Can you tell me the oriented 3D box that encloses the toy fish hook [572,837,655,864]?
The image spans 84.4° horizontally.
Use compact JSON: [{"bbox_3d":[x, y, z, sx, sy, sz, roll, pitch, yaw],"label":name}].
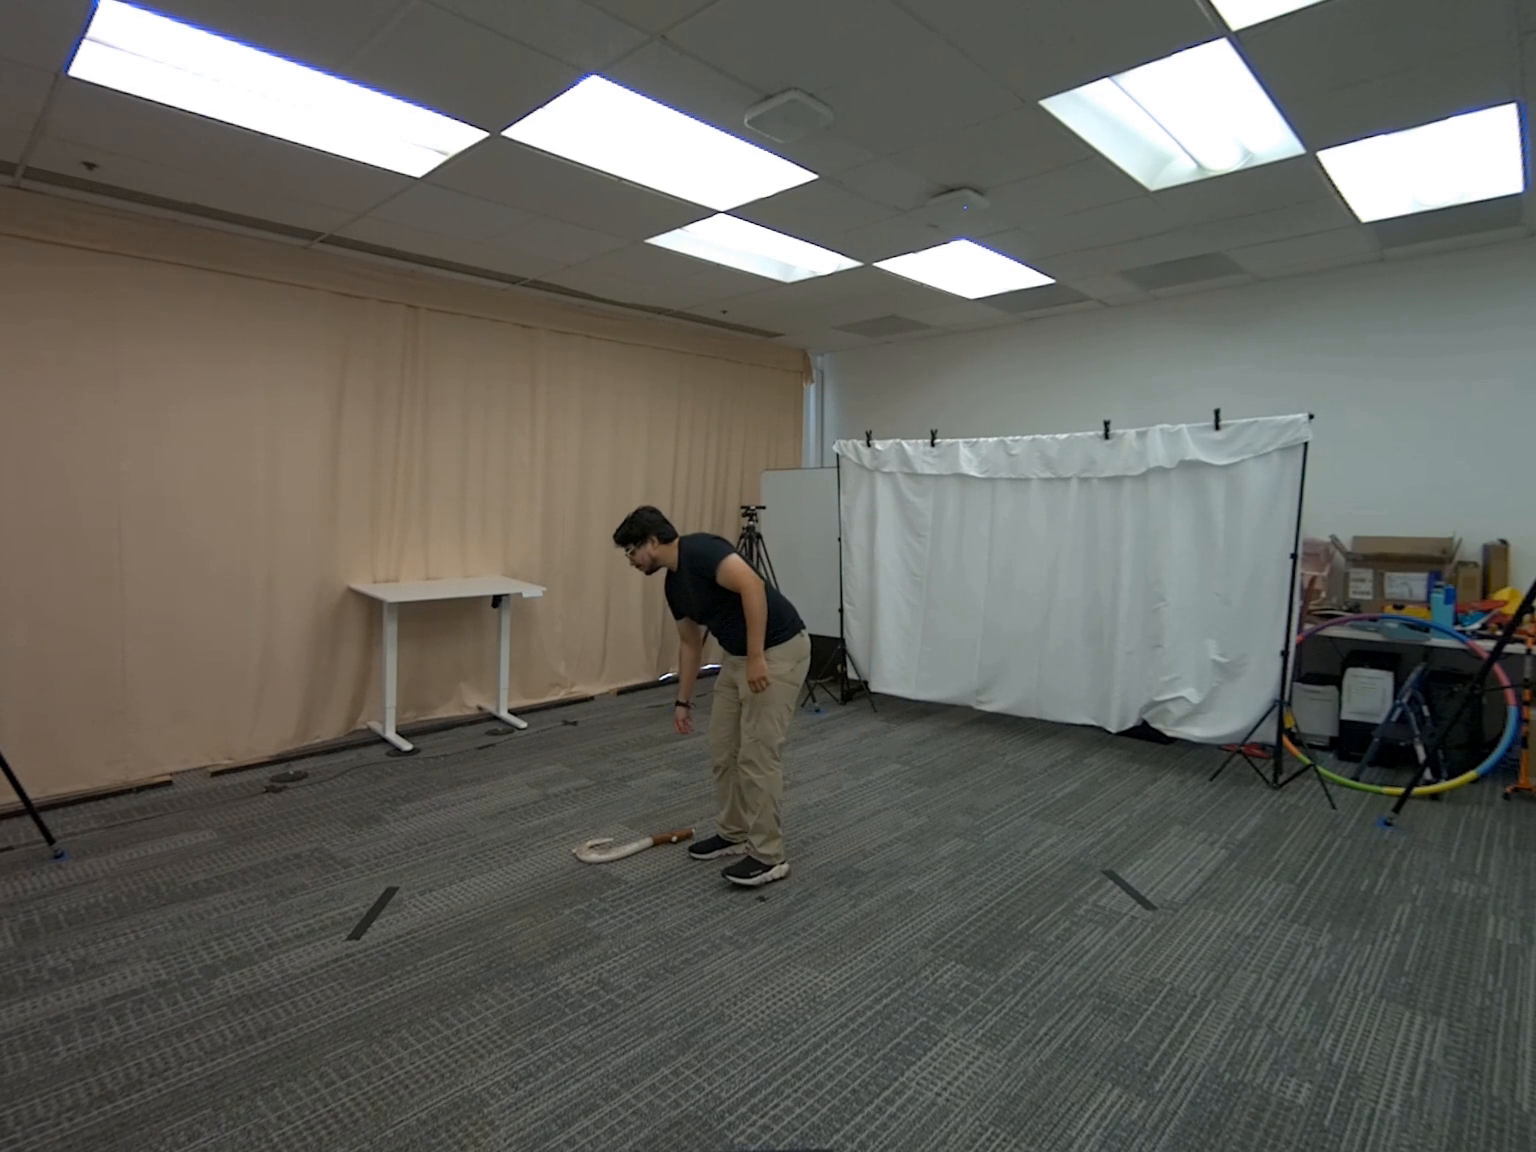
[{"bbox_3d":[-0.552,1.089,3.457,0.493,0.048,0.231,-3,6,-30],"label":"toy fish hook"}]
